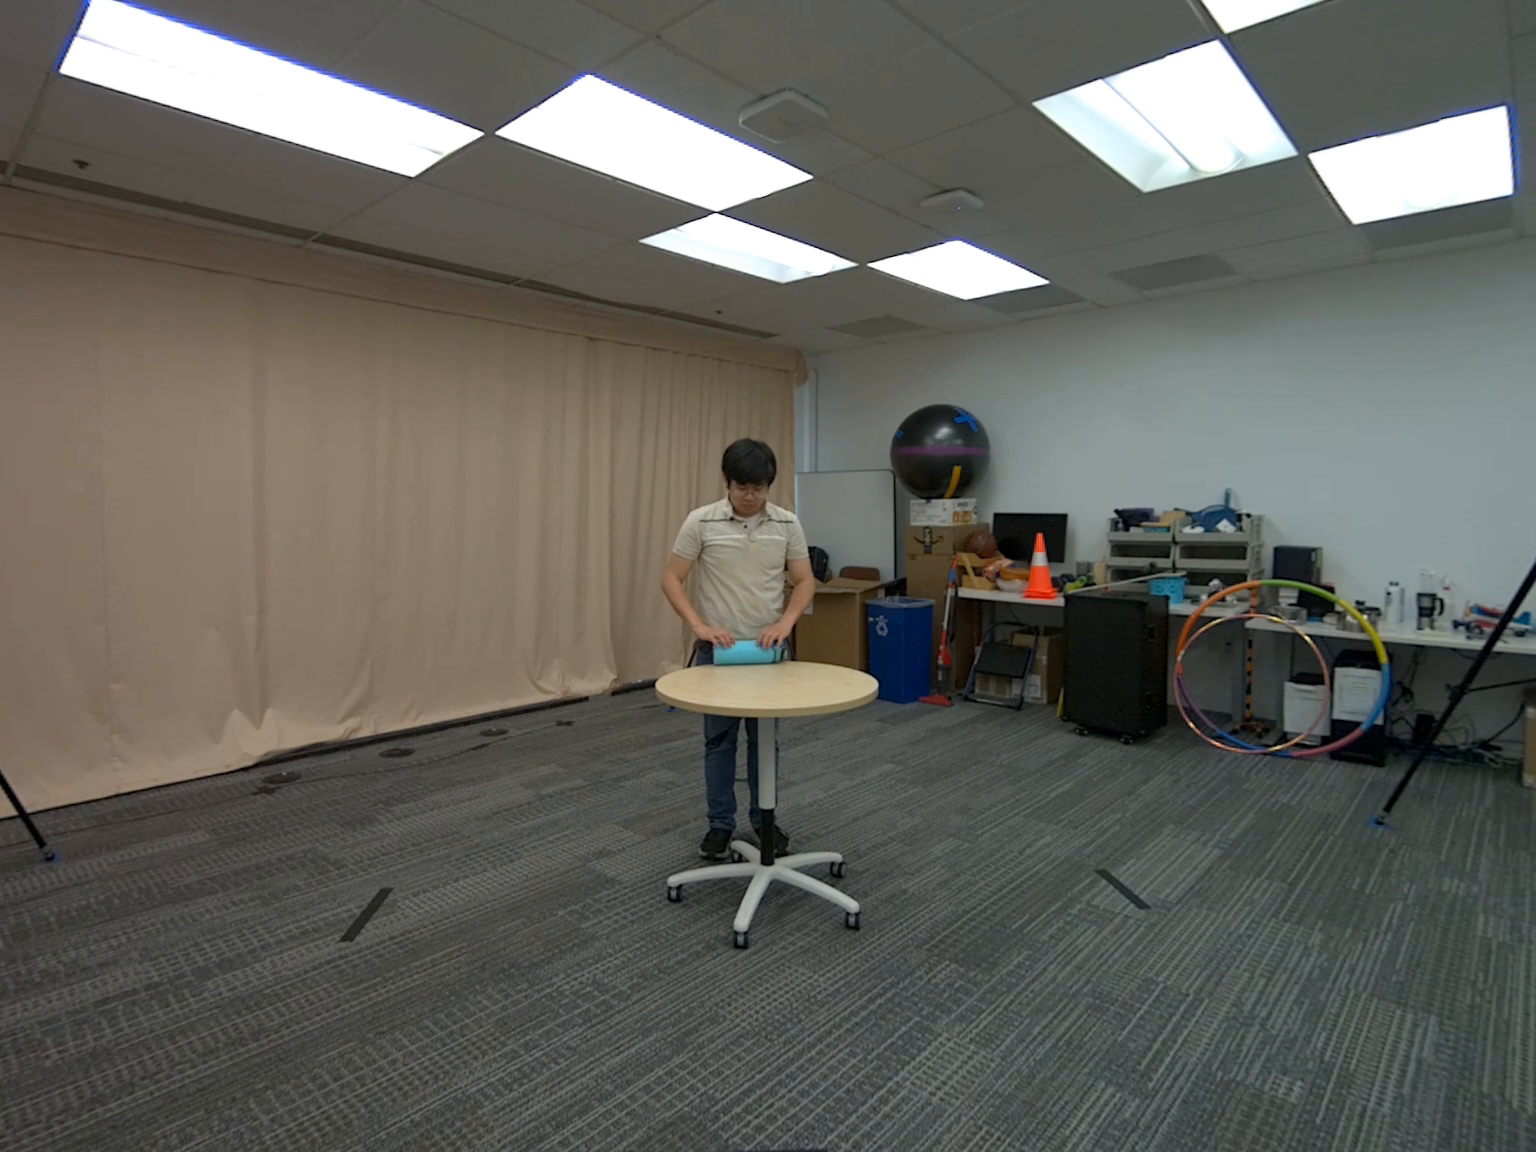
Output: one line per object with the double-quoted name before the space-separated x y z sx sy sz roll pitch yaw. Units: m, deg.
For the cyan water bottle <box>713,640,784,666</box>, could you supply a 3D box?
"cyan water bottle" -0.072 0.293 3.232 0.282 0.092 0.093 1 4 -5
